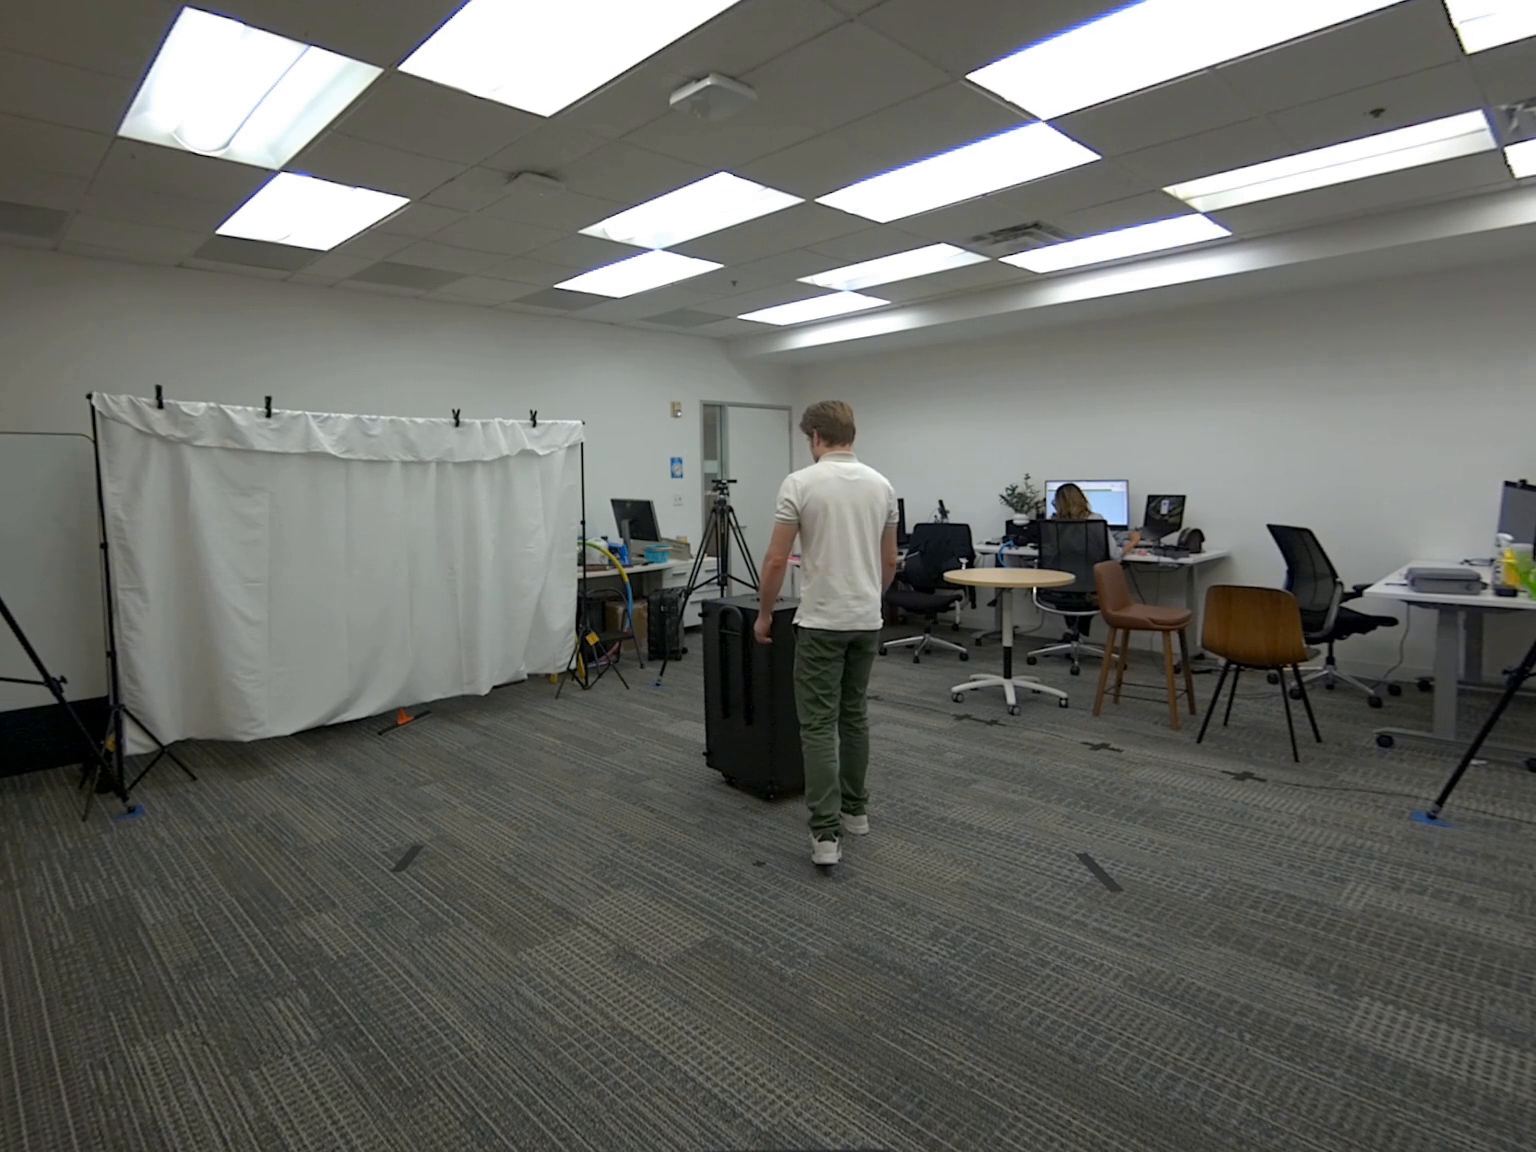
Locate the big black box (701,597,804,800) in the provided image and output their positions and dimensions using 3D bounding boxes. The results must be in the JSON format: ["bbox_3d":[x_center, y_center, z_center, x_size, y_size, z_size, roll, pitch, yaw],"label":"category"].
[{"bbox_3d":[-0.006,0.542,3.870,0.375,0.865,0.539,-5,5,-39],"label":"big black box"}]
